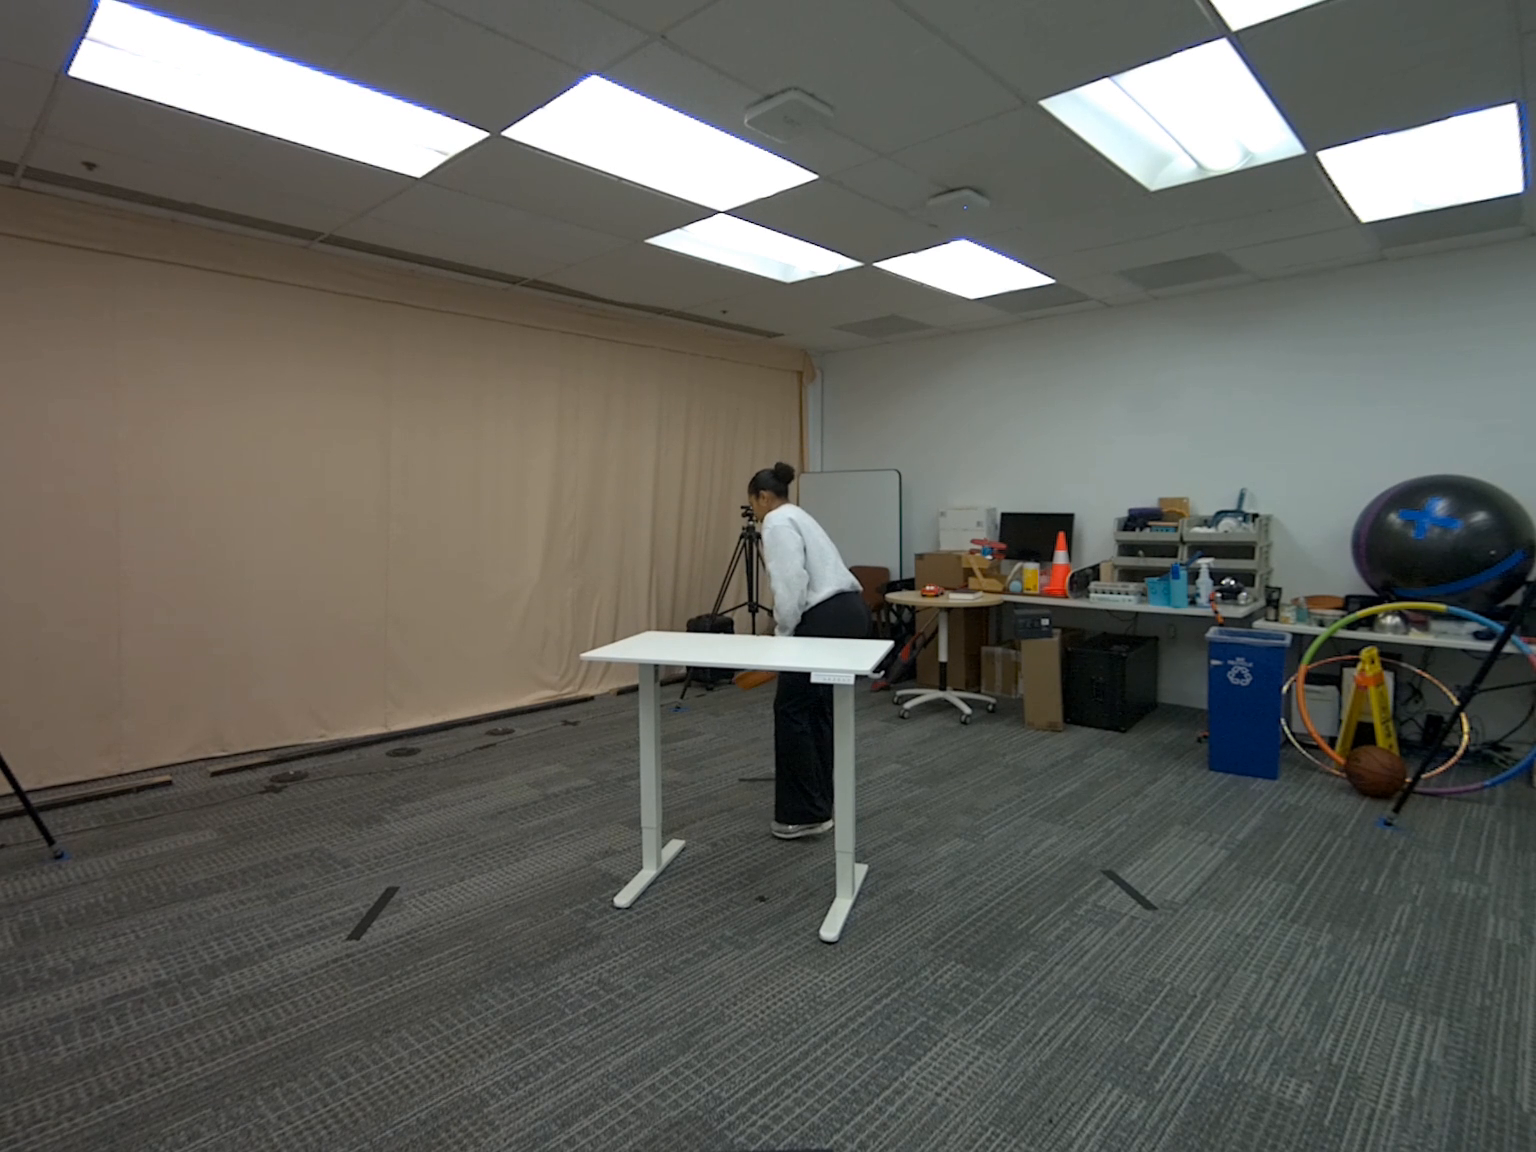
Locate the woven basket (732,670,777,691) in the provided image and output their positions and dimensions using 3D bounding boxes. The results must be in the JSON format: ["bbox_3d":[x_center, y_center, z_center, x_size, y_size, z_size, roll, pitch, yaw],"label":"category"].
[{"bbox_3d":[-0.046,0.481,4.028,0.249,0.074,0.352,-15,-10,-17],"label":"woven basket"}]
